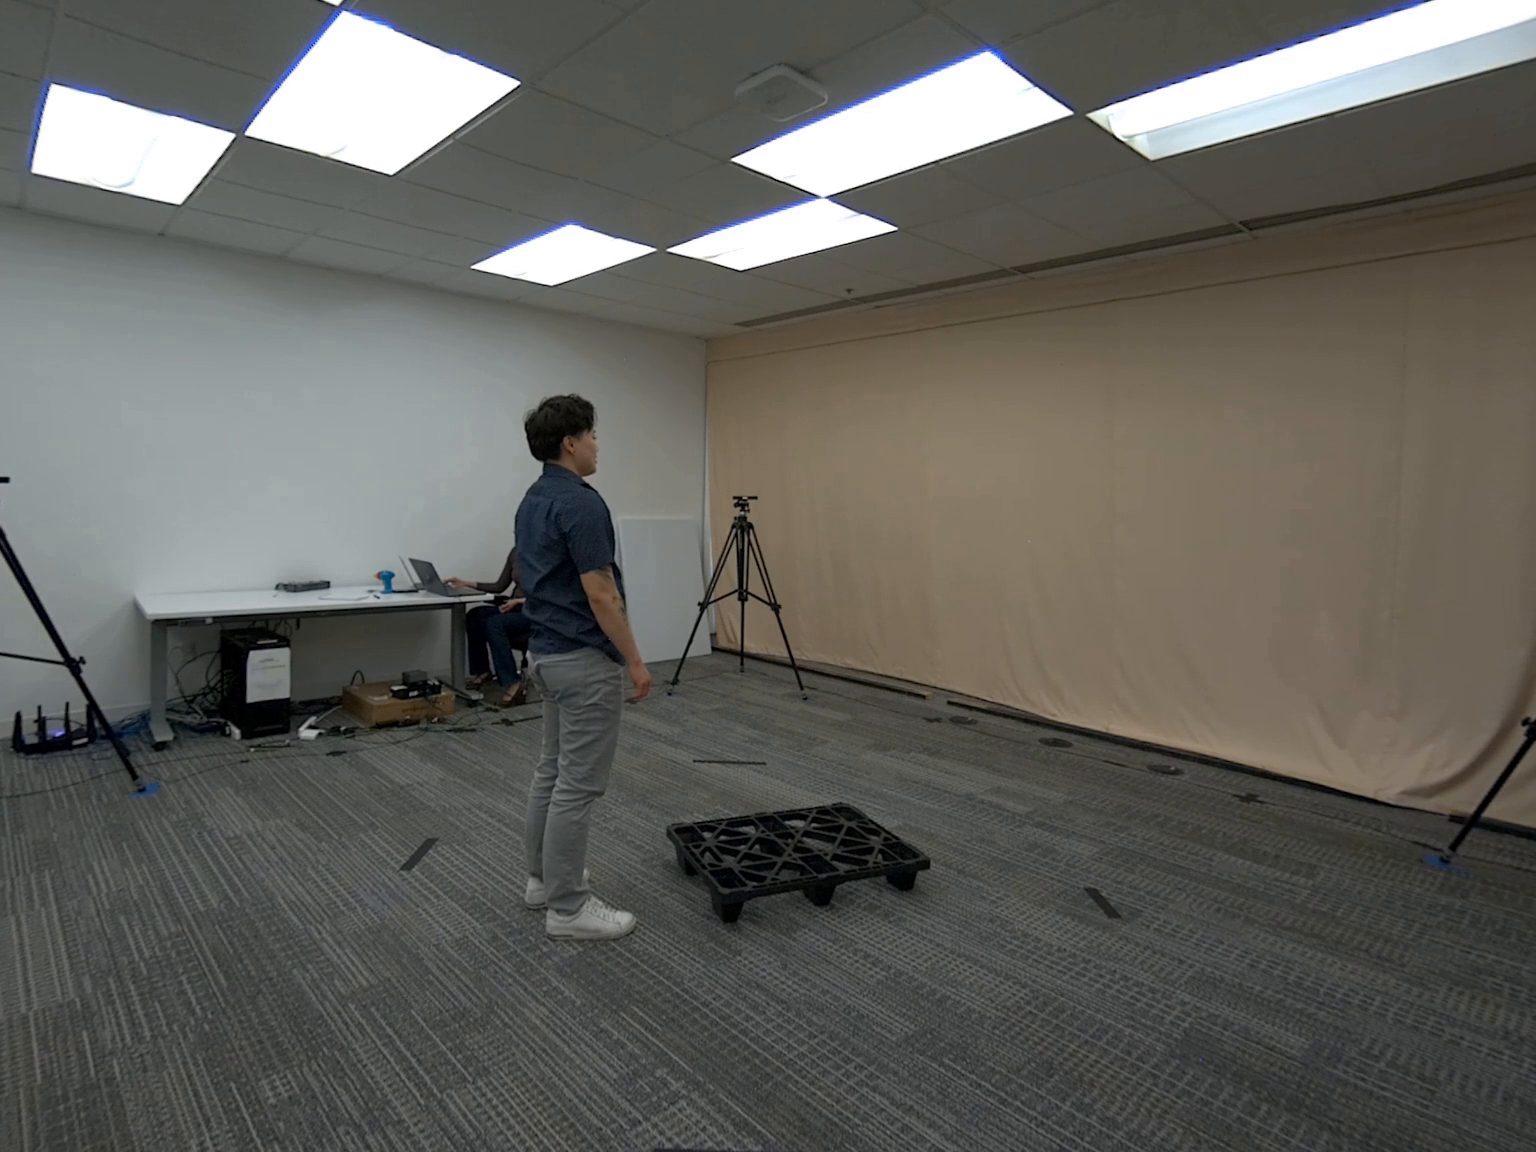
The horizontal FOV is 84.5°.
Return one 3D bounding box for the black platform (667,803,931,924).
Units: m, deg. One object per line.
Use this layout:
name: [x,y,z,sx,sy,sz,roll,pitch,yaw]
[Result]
black platform: [0.090,1.044,3.091,0.792,0.143,0.617,-1,6,-23]
